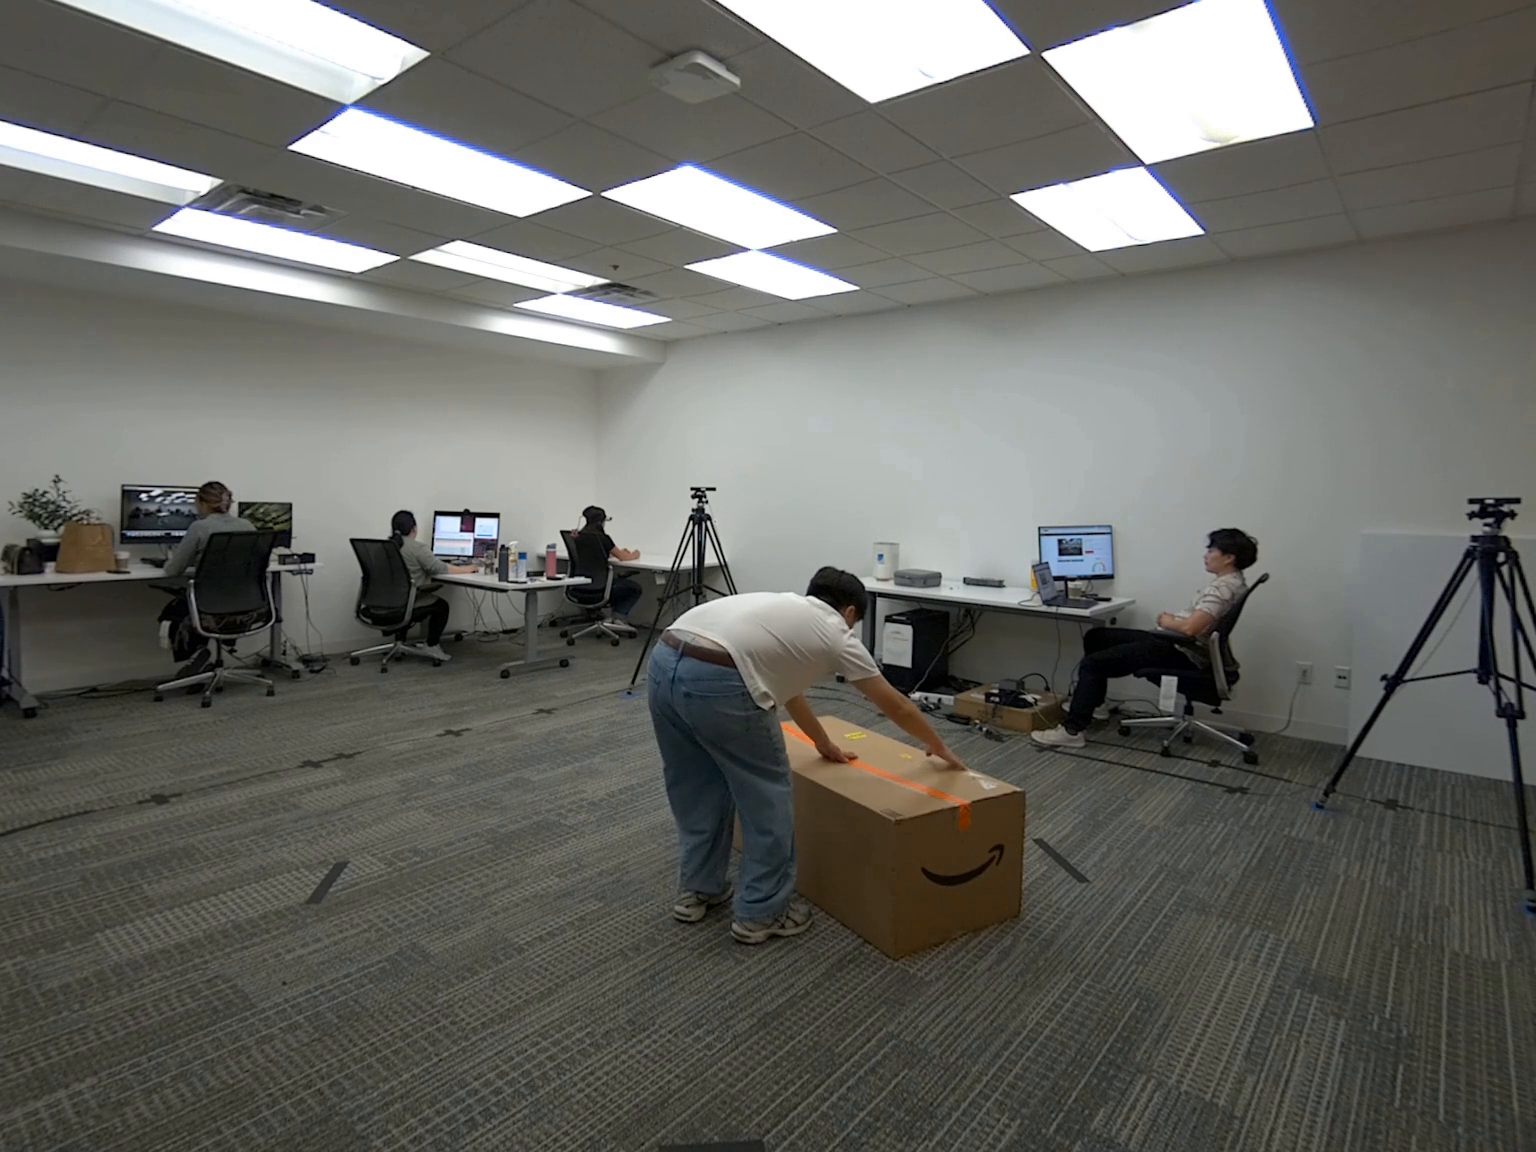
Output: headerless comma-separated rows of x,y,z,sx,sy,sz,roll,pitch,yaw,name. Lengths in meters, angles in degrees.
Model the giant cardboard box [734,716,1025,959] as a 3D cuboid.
0.313,0.868,3.093,0.561,0.425,1.059,-1,6,-33,giant cardboard box
